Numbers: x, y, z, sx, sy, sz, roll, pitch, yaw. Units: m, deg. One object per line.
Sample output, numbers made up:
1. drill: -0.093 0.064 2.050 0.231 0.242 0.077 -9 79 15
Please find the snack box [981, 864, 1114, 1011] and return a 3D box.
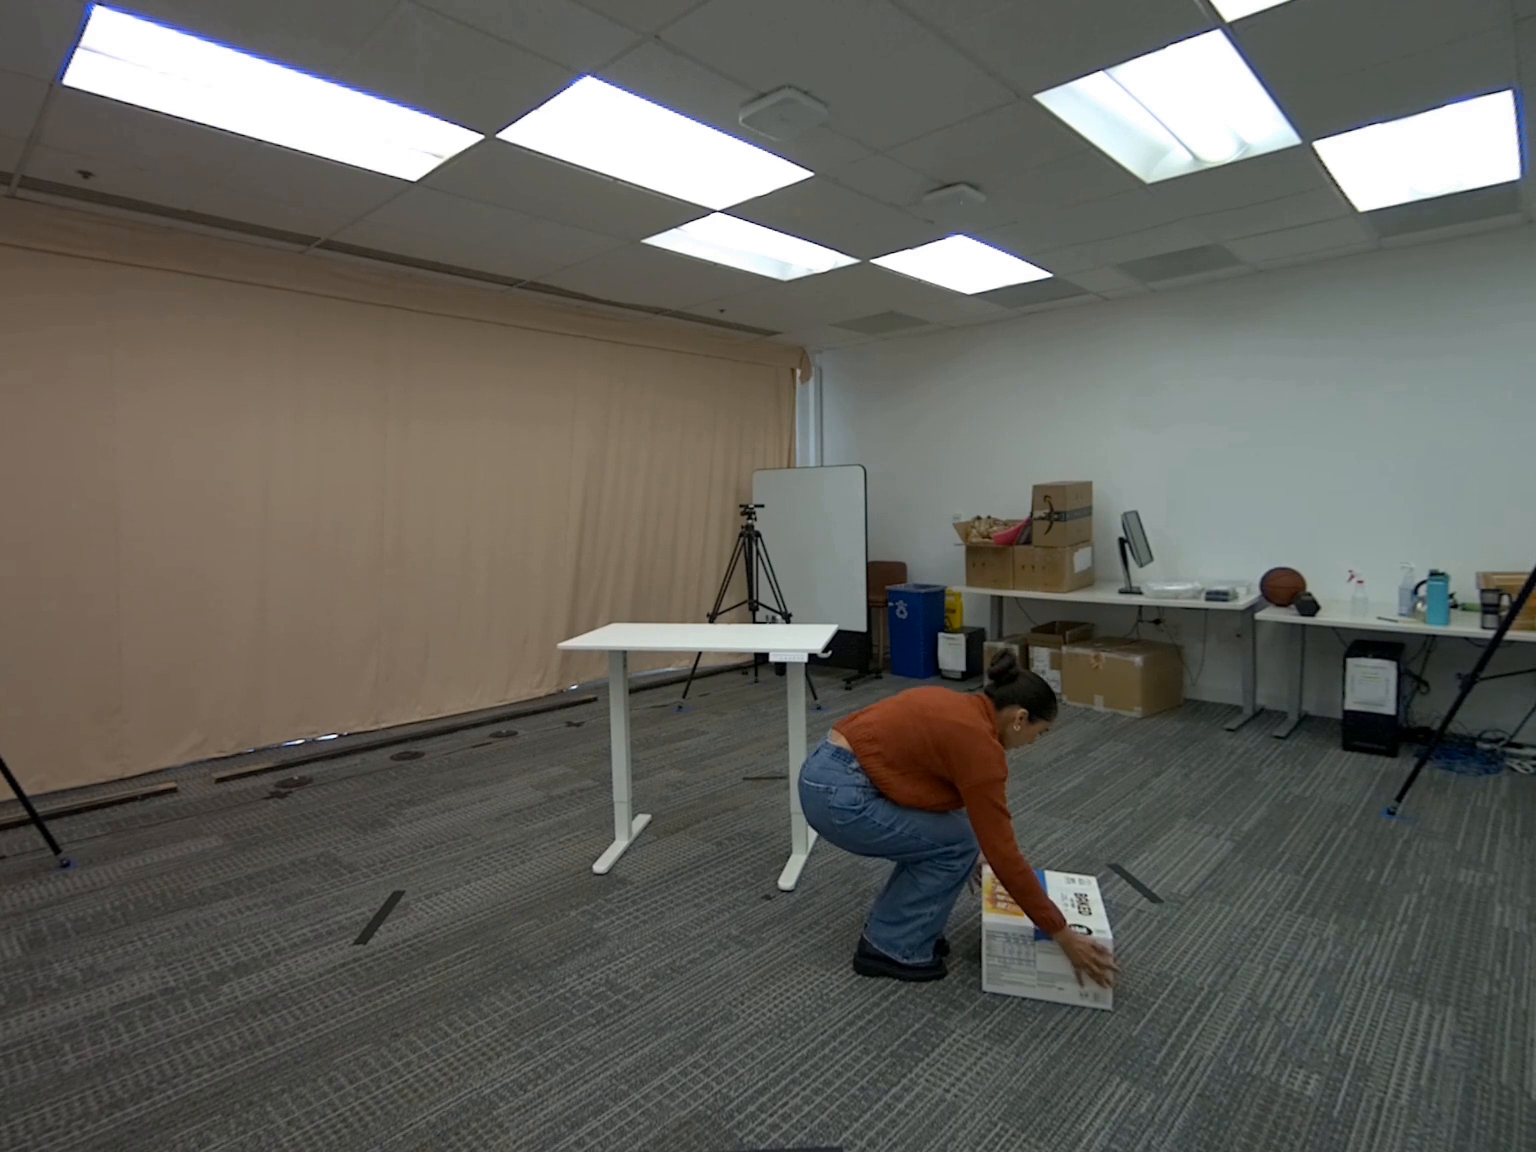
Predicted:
1. snack box: 0.824 1.061 2.513 0.346 0.205 0.399 0 4 16
